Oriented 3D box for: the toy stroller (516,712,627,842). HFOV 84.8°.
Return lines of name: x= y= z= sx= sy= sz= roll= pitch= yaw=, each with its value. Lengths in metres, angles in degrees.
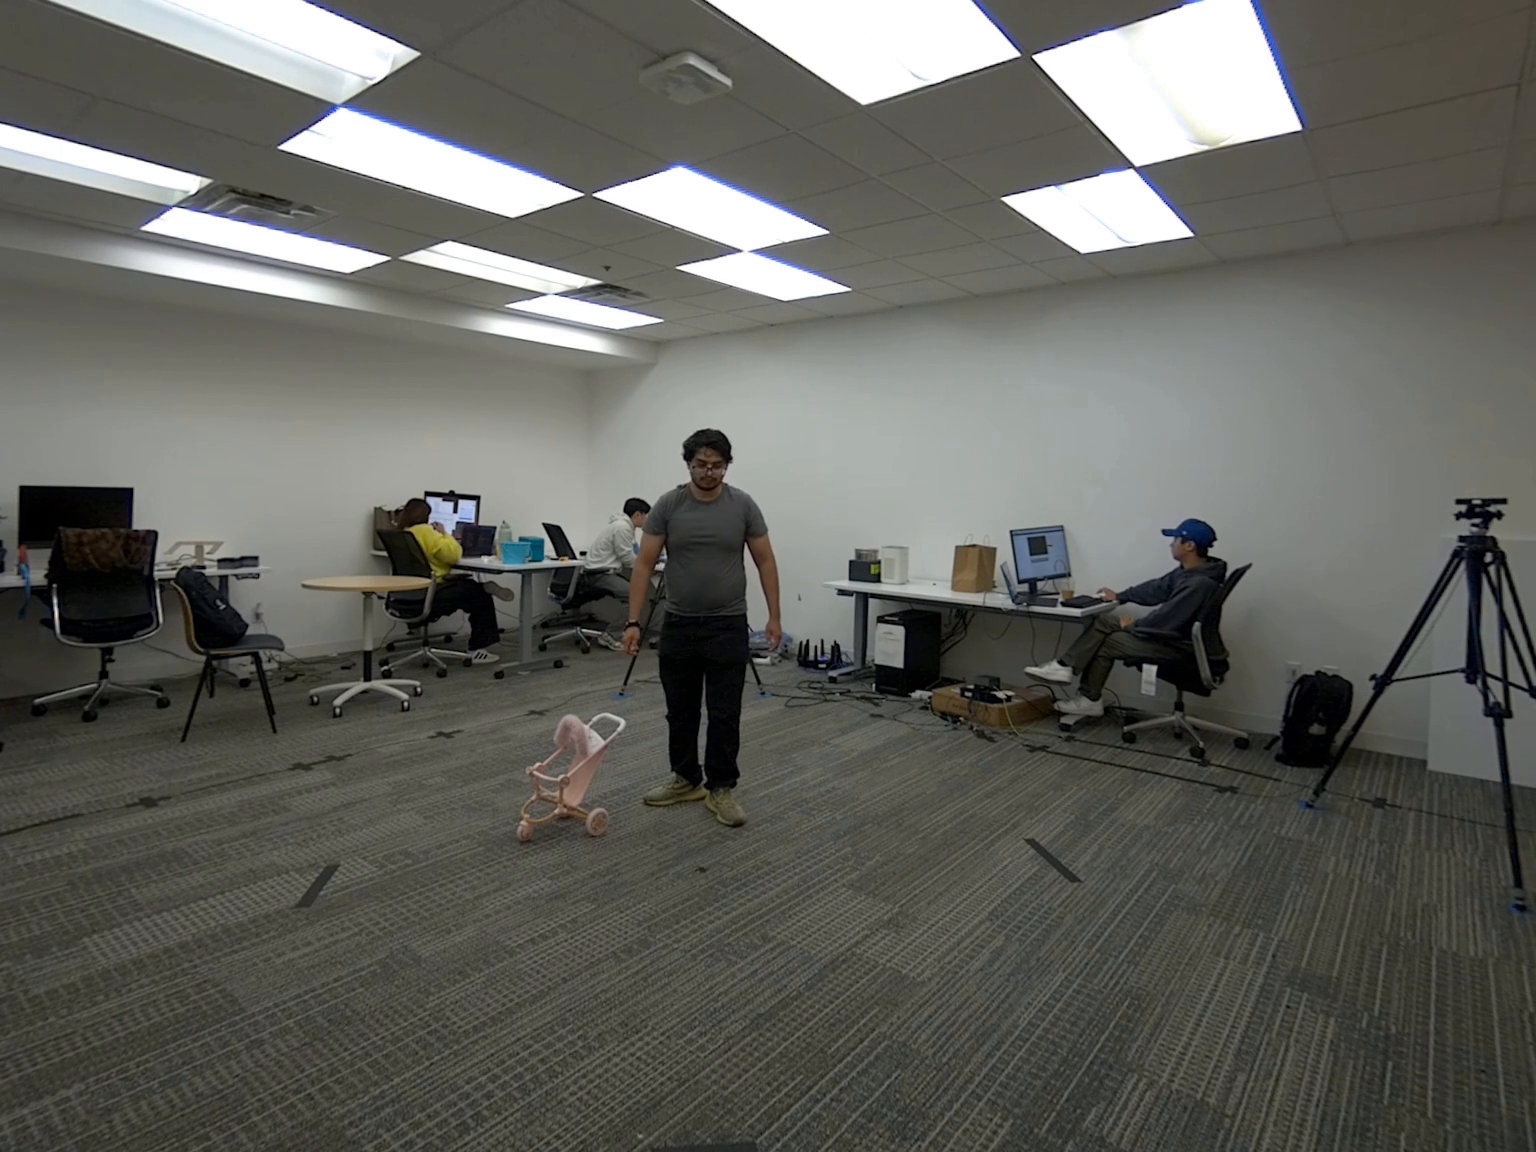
toy stroller: x=-0.823 y=0.803 z=3.445 sx=0.328 sy=0.537 sz=0.291 roll=19 pitch=-9 yaw=-38
